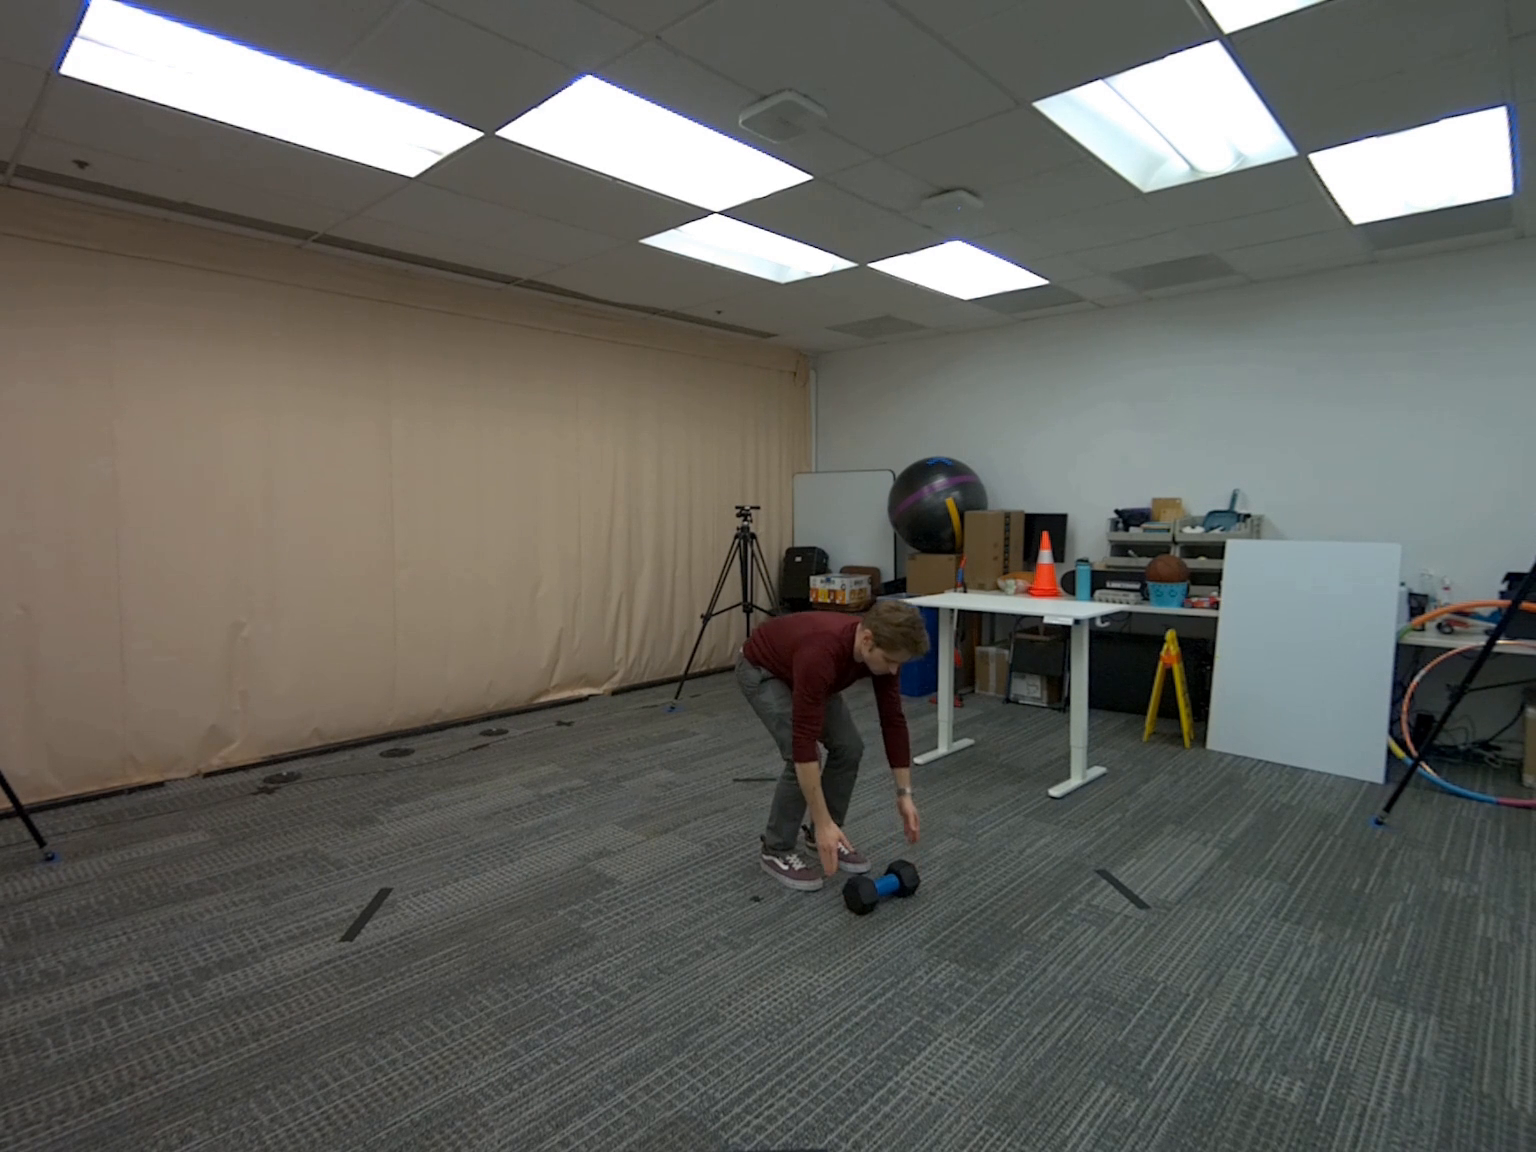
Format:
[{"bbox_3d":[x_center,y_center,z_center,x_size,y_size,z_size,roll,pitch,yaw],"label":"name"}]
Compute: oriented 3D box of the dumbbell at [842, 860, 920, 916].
[{"bbox_3d":[0.400,1.088,2.960,0.285,0.125,0.110,-1,-24,-33],"label":"dumbbell"}]
